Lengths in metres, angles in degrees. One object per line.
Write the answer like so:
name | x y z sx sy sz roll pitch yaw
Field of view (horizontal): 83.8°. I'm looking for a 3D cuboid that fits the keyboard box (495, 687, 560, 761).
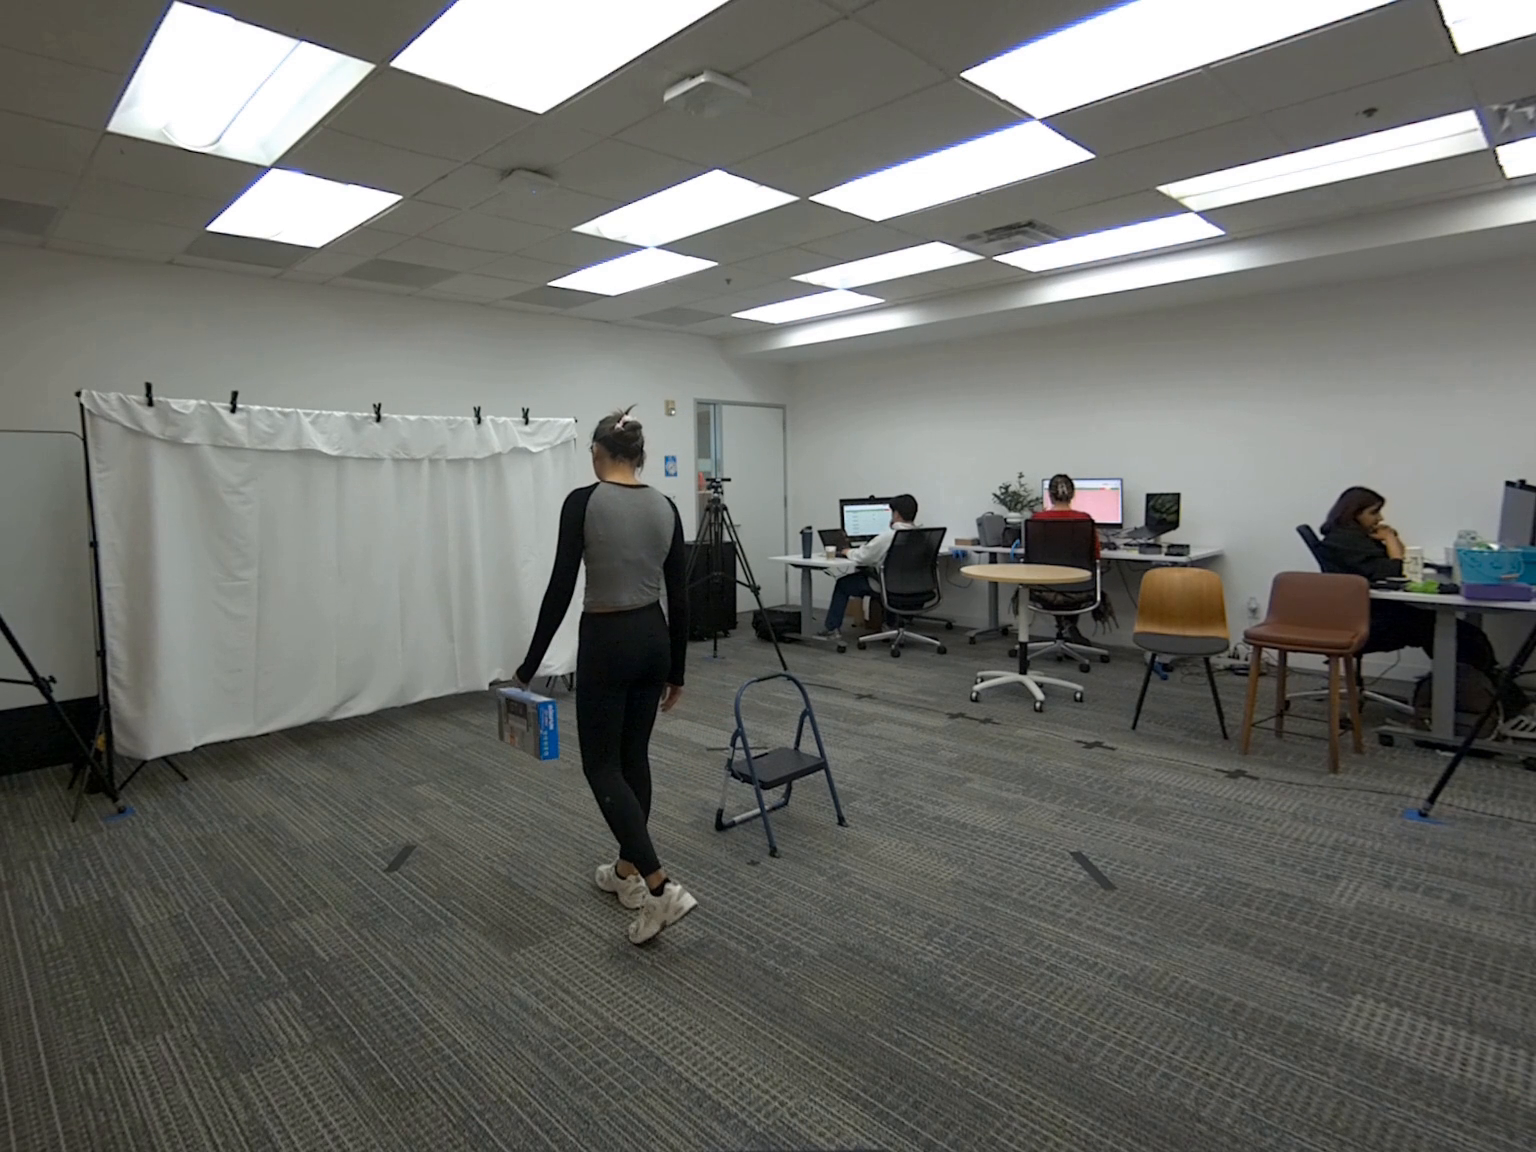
keyboard box | -0.764 0.462 2.705 0.057 0.176 0.447 -2 0 -33
